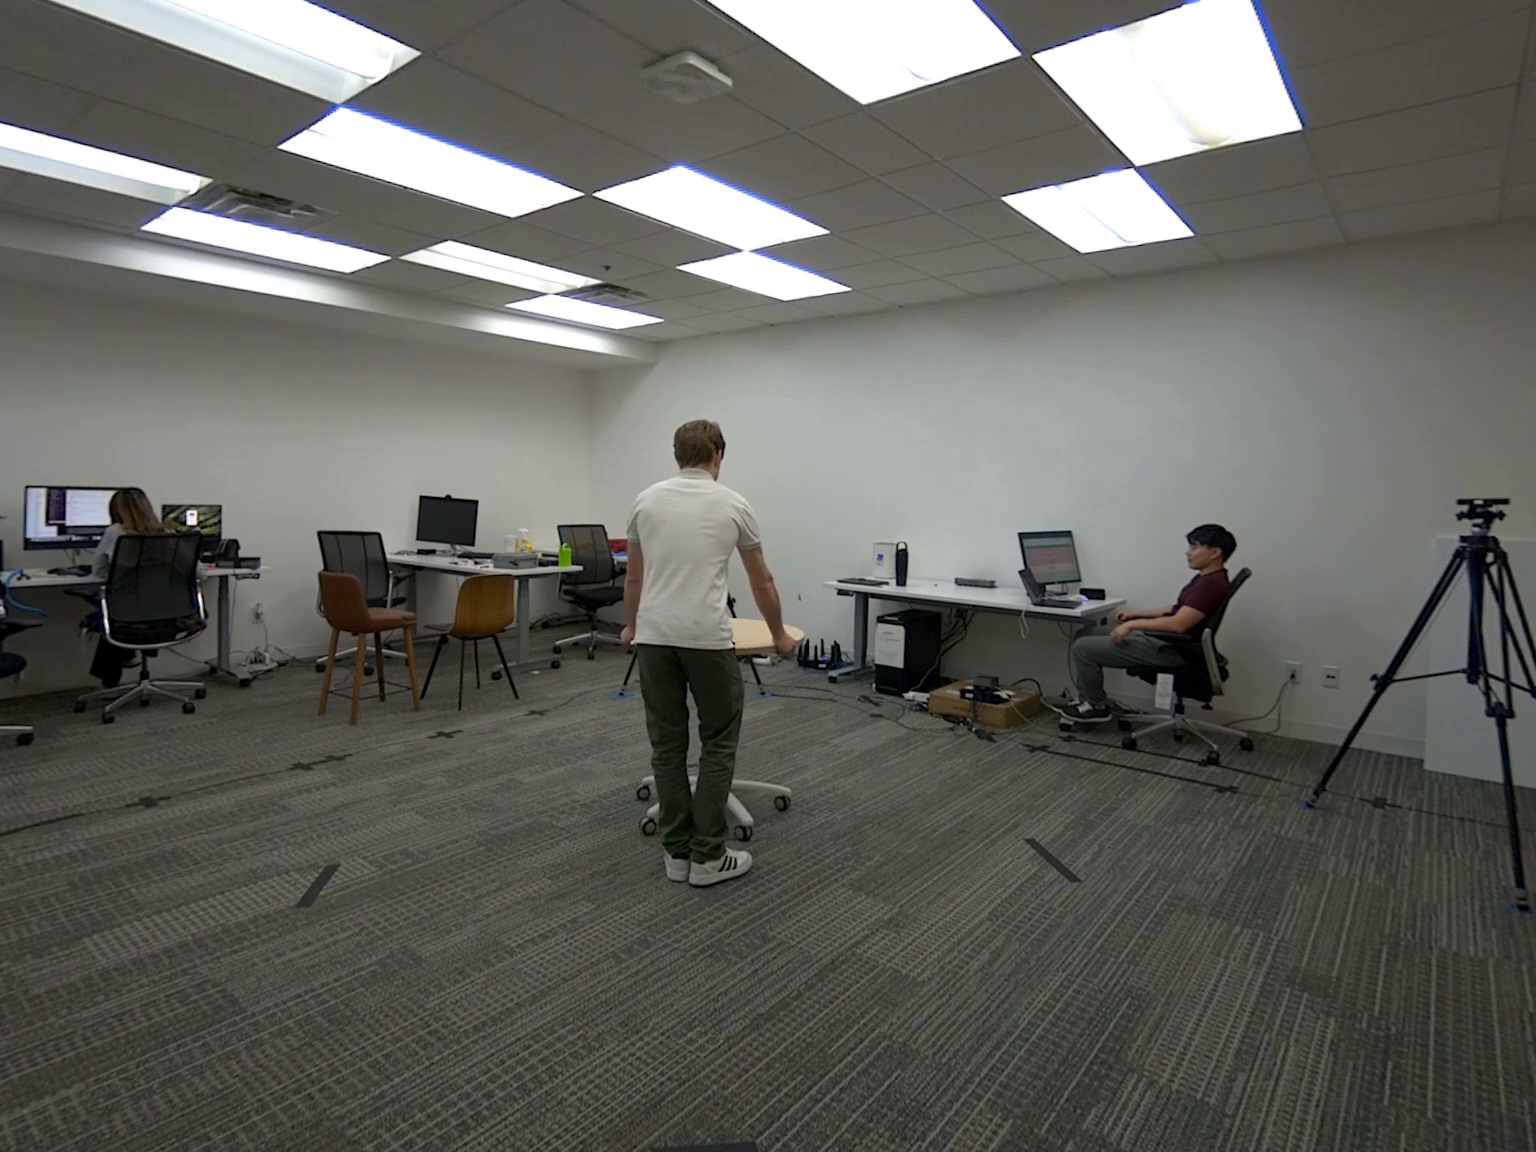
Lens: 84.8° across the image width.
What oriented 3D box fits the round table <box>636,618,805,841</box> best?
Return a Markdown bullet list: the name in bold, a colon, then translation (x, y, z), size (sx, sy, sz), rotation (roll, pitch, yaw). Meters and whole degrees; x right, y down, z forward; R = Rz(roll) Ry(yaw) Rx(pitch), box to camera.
- **round table**: translation (-0.245, 0.626, 3.642), size (0.763, 0.791, 0.768), rotation (1, 4, -2)
